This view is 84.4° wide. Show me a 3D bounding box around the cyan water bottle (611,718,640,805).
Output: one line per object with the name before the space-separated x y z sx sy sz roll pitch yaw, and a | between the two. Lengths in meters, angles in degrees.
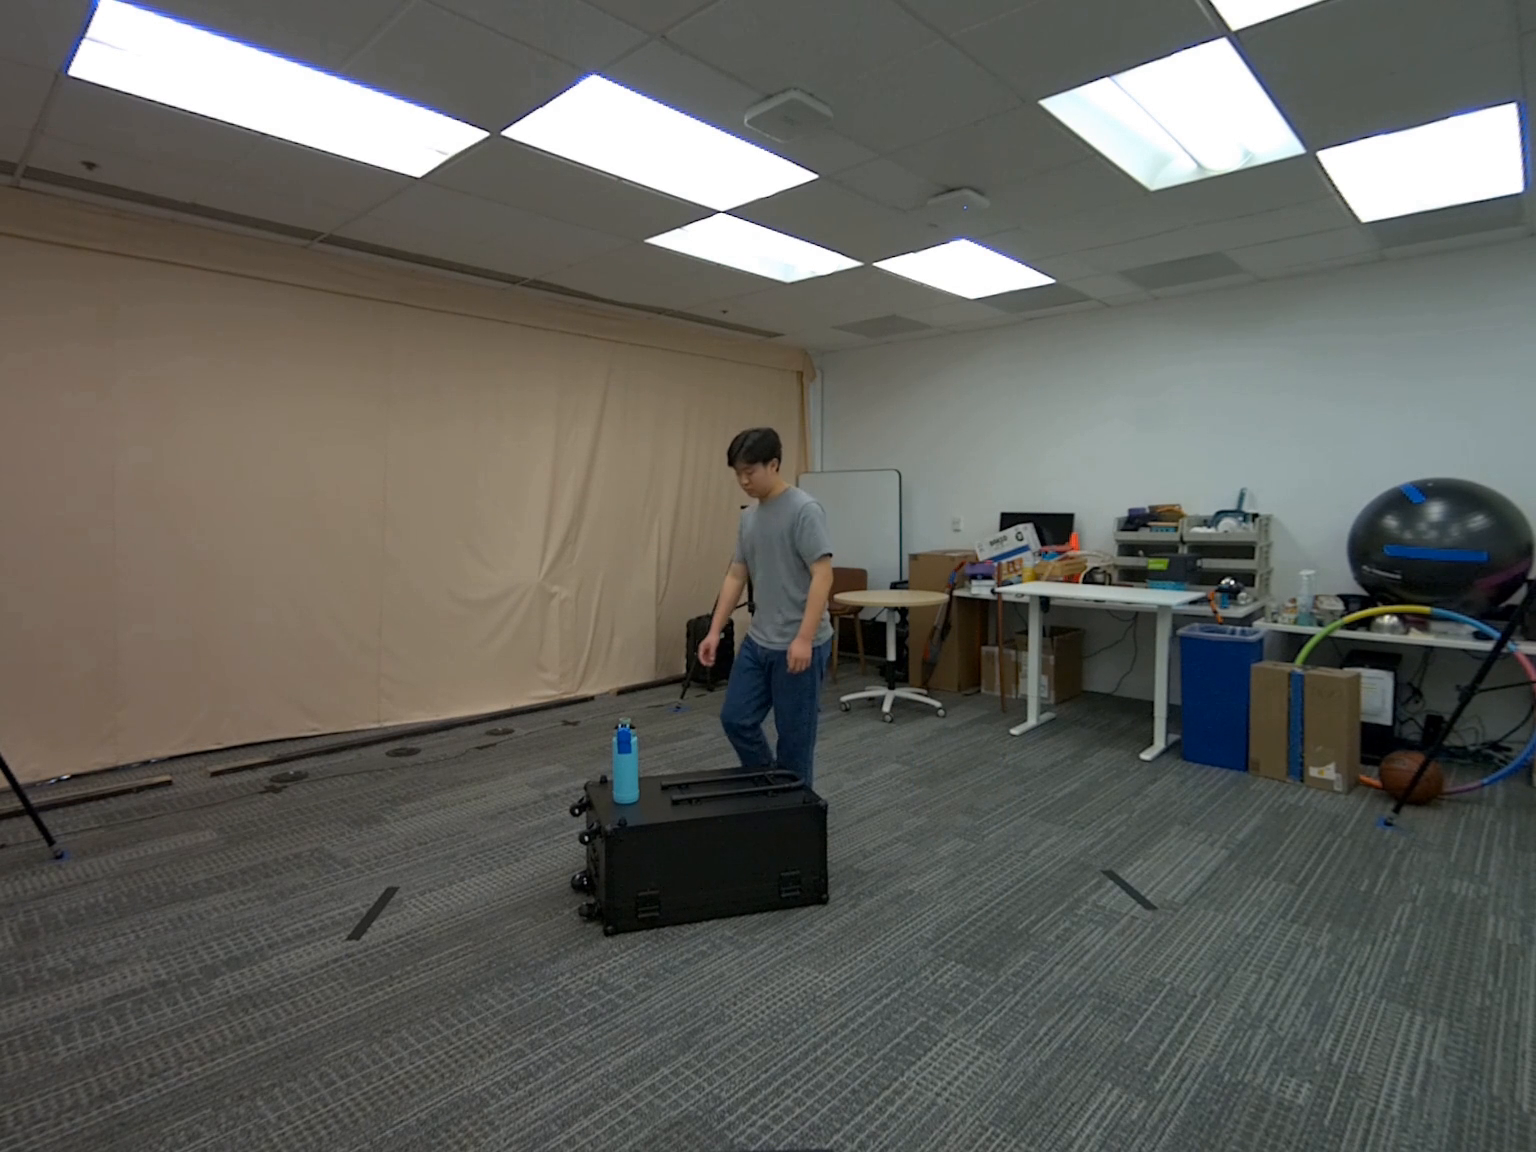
cyan water bottle | -0.501 0.648 2.967 0.092 0.282 0.093 1 5 -2
